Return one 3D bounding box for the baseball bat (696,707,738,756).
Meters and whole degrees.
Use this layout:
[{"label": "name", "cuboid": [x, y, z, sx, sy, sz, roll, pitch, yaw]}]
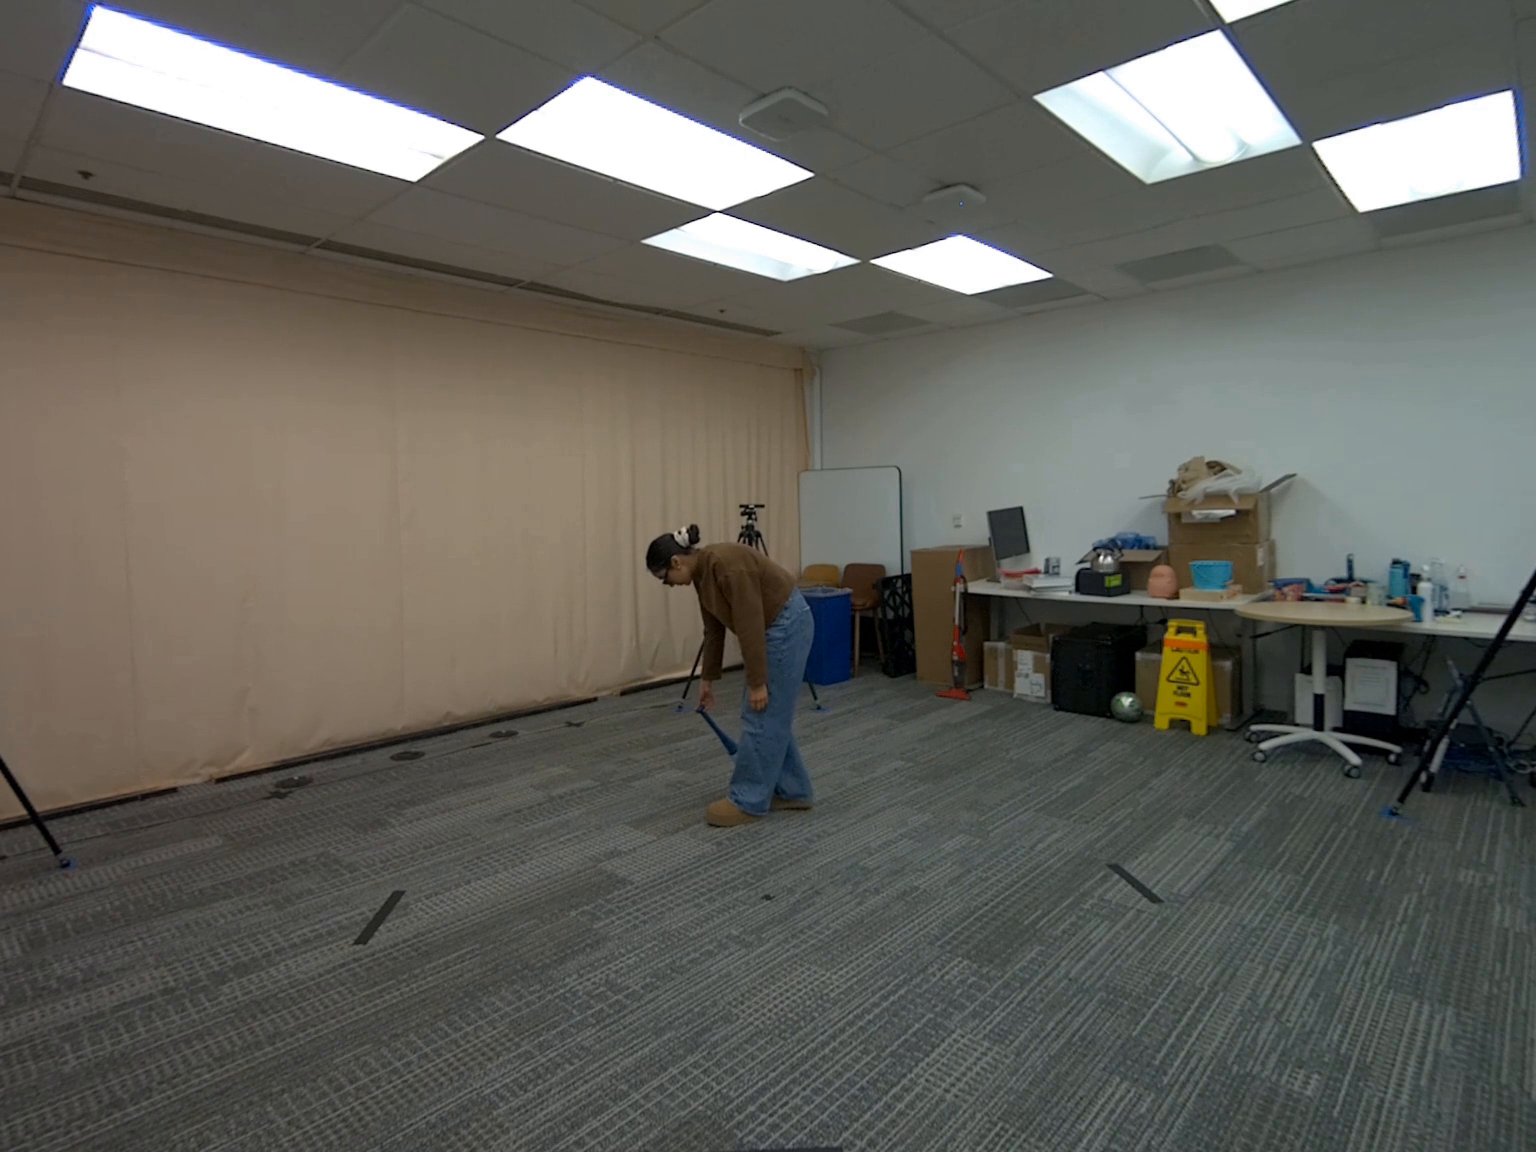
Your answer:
[{"label": "baseball bat", "cuboid": [-0.173, 0.831, 4.055, 0.089, 0.535, 0.090, -38, 12, 9]}]
